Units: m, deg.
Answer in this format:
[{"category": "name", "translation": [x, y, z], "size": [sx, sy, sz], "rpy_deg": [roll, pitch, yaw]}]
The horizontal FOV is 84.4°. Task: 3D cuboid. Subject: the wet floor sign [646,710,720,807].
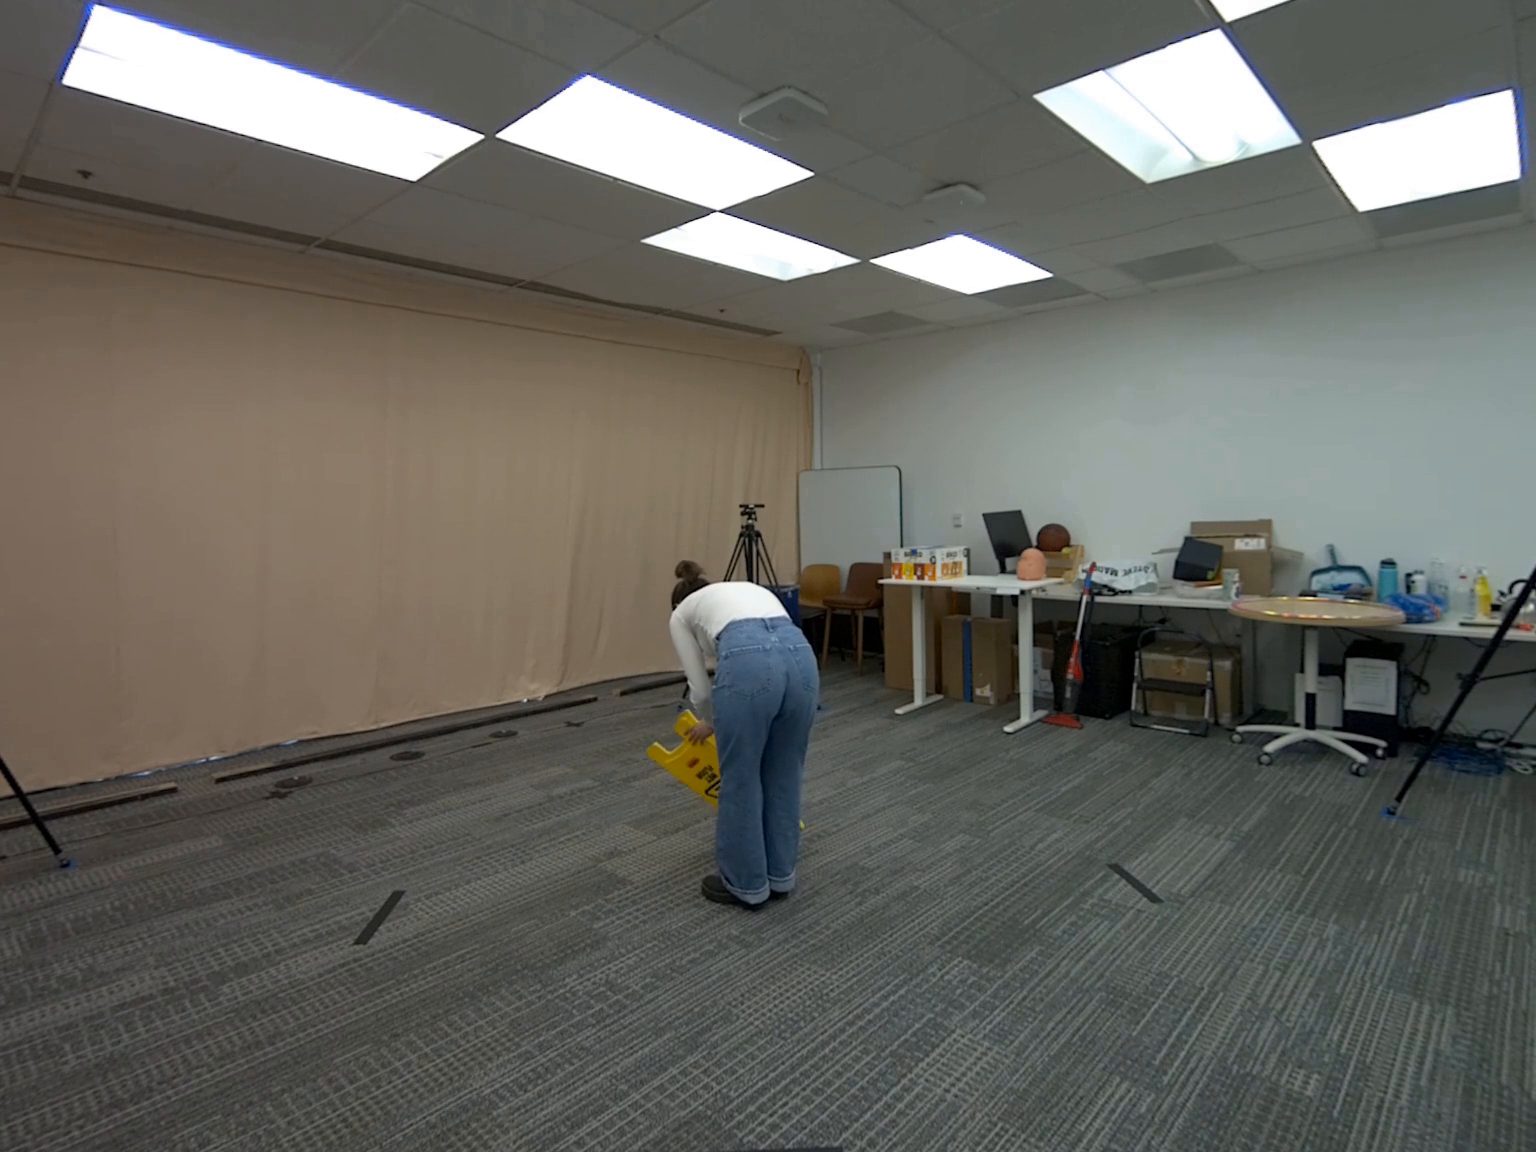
[{"category": "wet floor sign", "translation": [-0.135, 0.816, 3.391], "size": [0.284, 0.649, 0.286], "rpy_deg": [-46, -4, 34]}]
